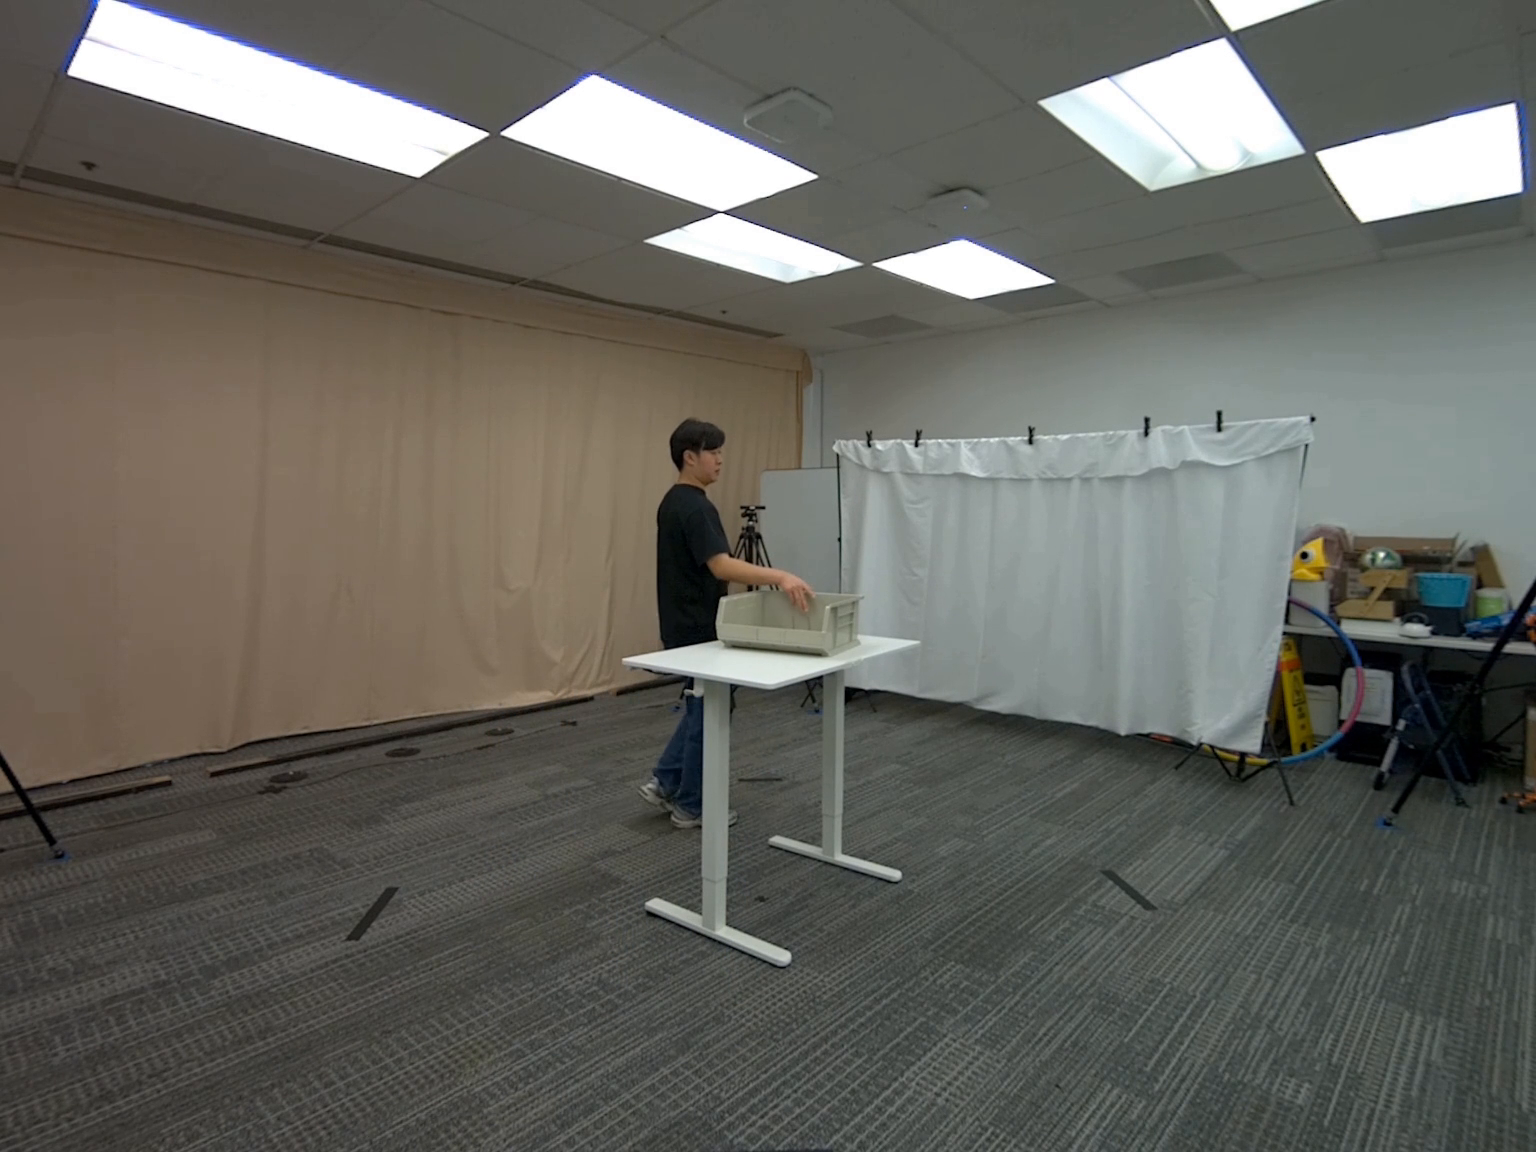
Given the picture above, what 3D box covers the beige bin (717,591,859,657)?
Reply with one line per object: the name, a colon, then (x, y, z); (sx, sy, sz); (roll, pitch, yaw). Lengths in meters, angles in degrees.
beige bin: (0.088, 0.171, 3.047); (0.434, 0.189, 0.368); (2, 3, 27)
